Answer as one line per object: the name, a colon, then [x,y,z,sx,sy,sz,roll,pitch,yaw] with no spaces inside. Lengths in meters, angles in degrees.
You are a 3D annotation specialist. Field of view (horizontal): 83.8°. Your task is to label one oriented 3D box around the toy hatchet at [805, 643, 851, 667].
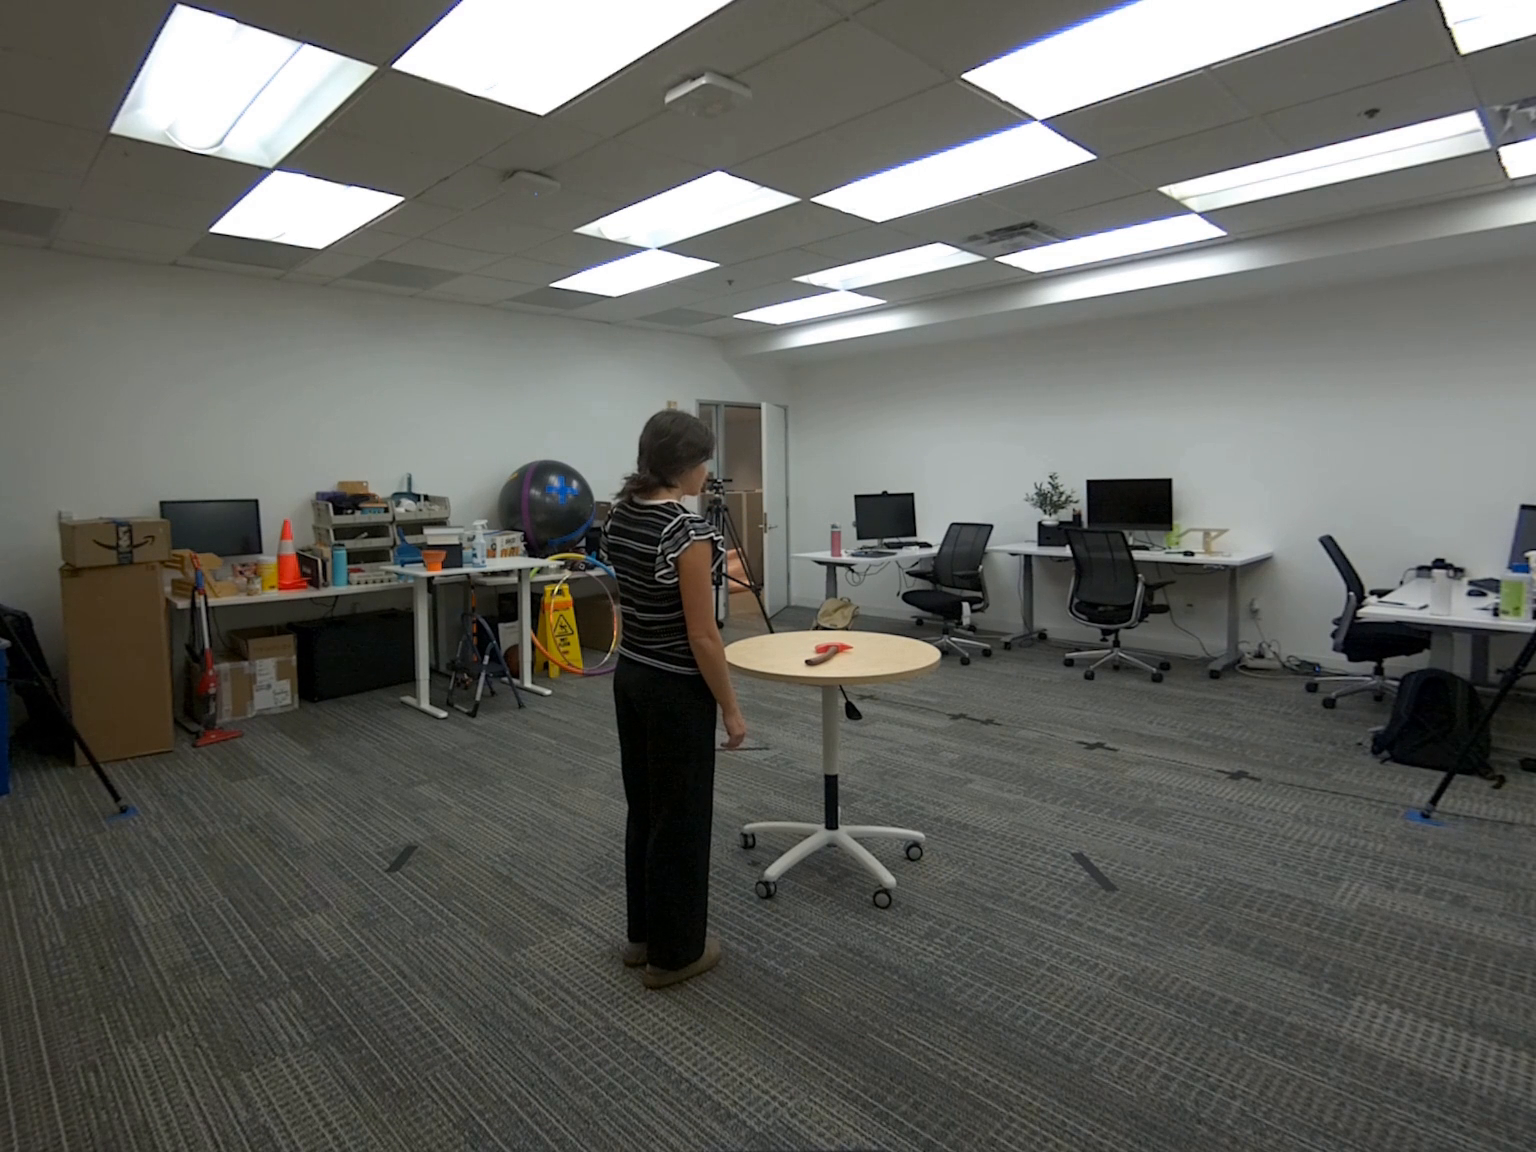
toy hatchet: [0.189,0.266,2.925,0.135,0.029,0.264,2,8,35]
